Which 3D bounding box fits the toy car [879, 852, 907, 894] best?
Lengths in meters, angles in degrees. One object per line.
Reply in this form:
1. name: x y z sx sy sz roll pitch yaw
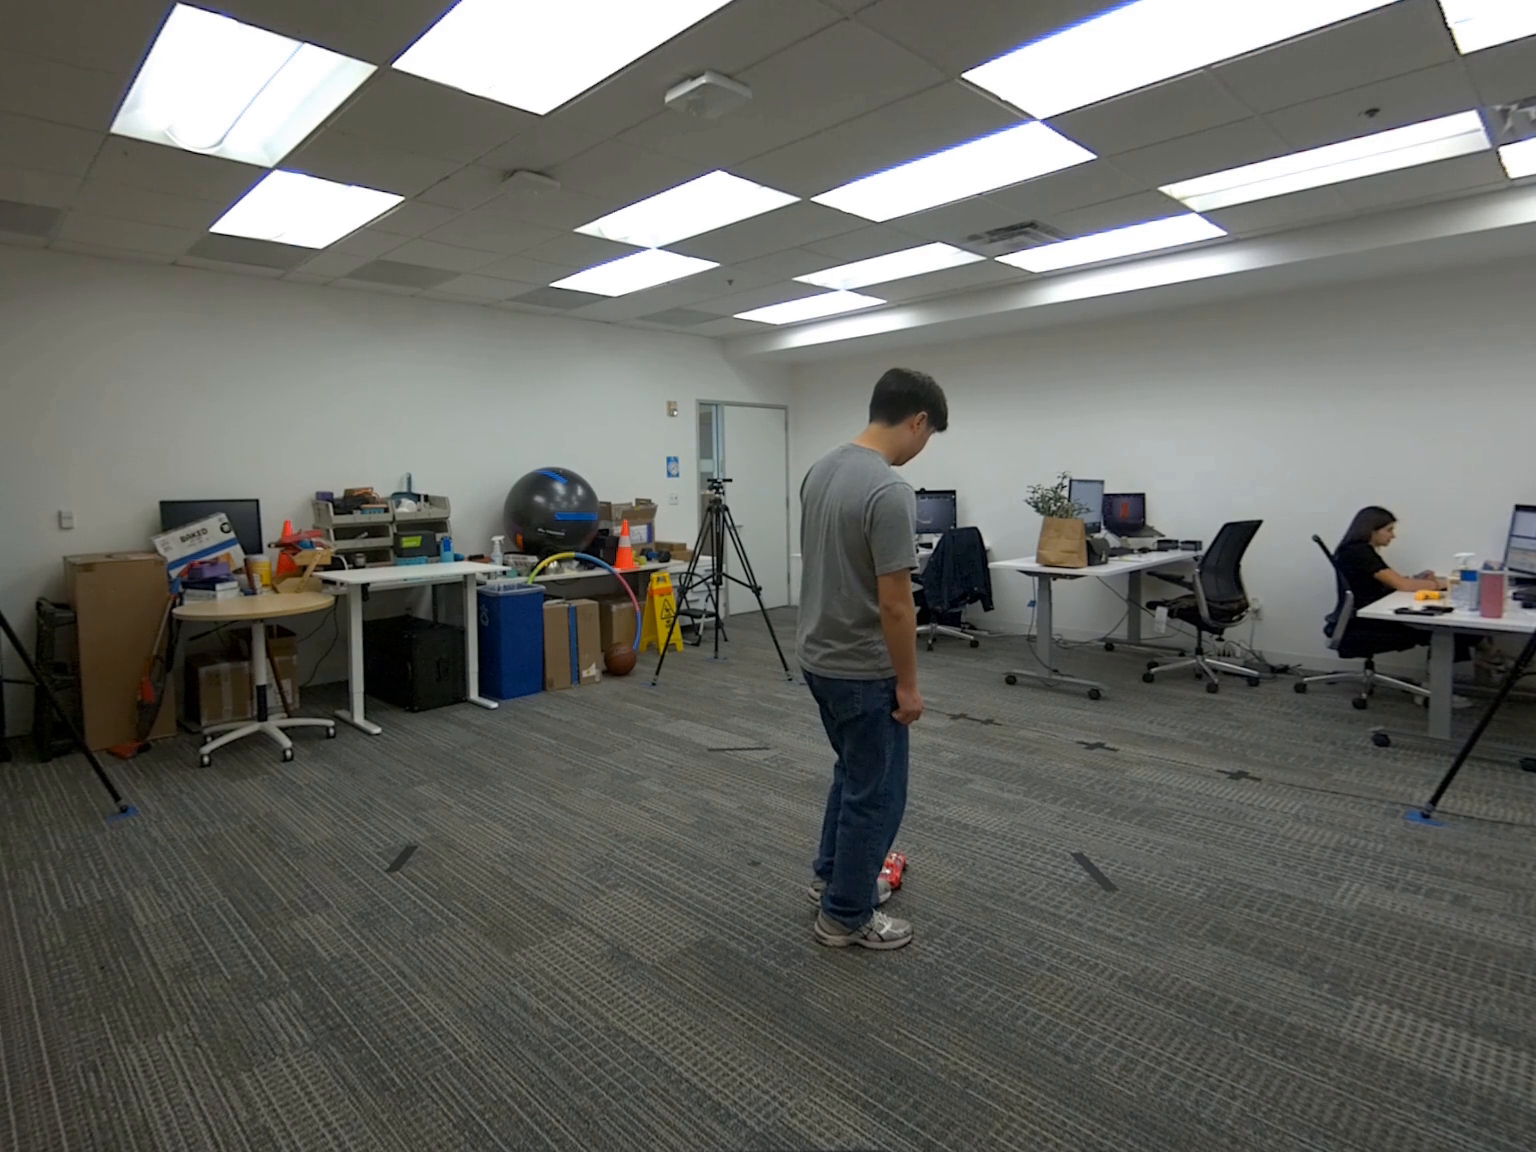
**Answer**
1. toy car: 0.421 1.023 2.961 0.132 0.083 0.249 1 -4 15
